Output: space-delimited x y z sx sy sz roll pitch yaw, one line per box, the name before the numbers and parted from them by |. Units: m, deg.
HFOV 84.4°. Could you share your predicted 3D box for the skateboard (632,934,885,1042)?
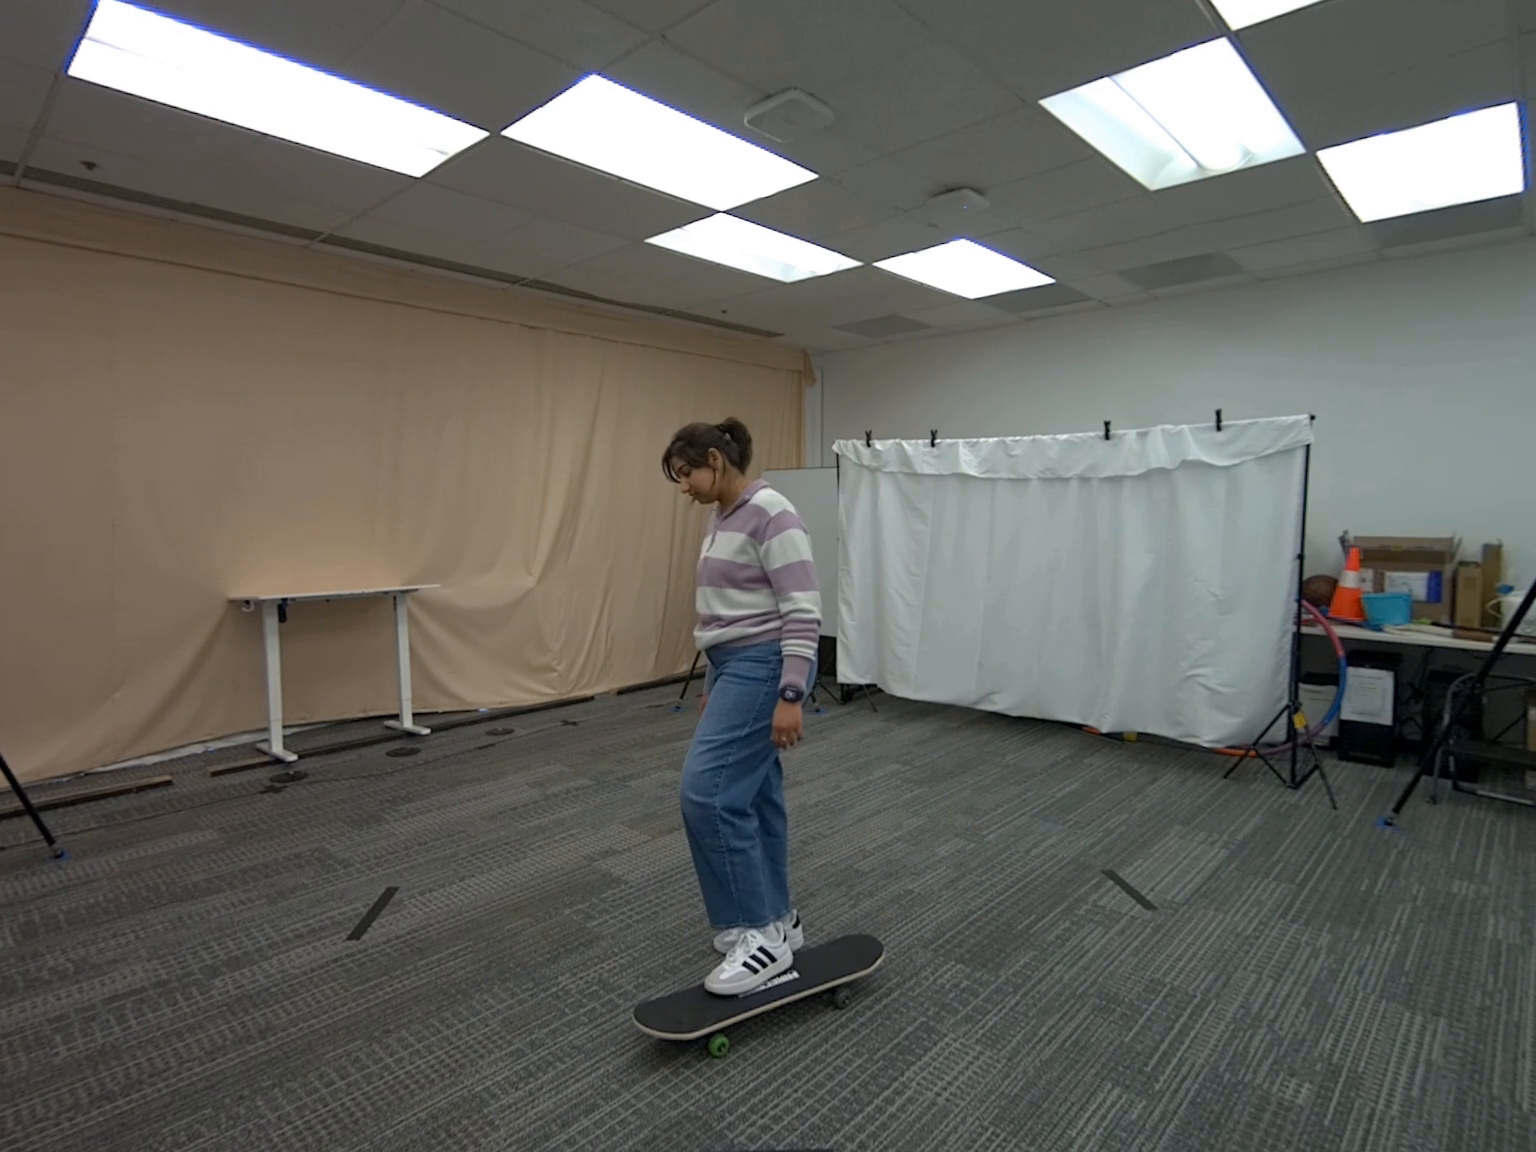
skateboard | -0.003 1.144 2.299 0.764 0.110 0.199 -3 3 -30
